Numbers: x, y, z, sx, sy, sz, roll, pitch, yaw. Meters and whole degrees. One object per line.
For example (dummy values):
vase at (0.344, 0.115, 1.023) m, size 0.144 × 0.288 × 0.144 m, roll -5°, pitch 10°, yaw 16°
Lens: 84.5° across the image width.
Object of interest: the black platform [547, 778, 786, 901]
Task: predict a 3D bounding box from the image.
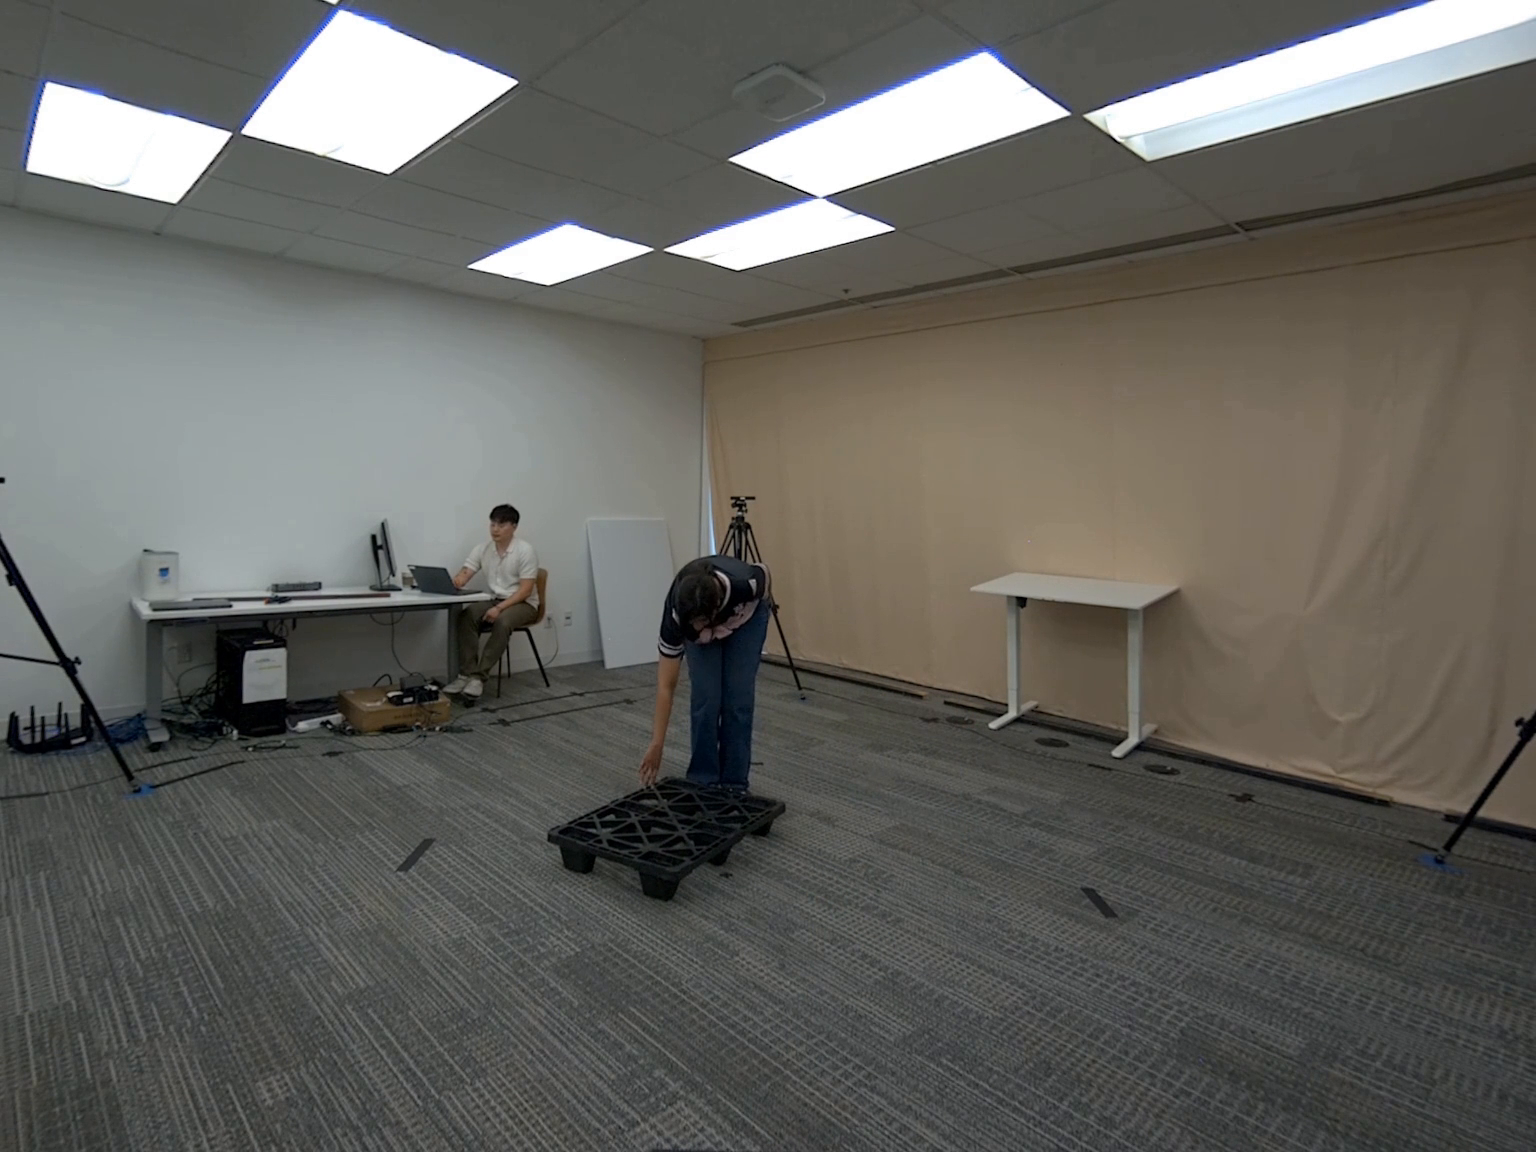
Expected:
black platform at (-0.385, 1.011, 3.313) m, size 0.618 × 0.143 × 0.790 m, roll 4°, pitch 5°, yaw 30°
